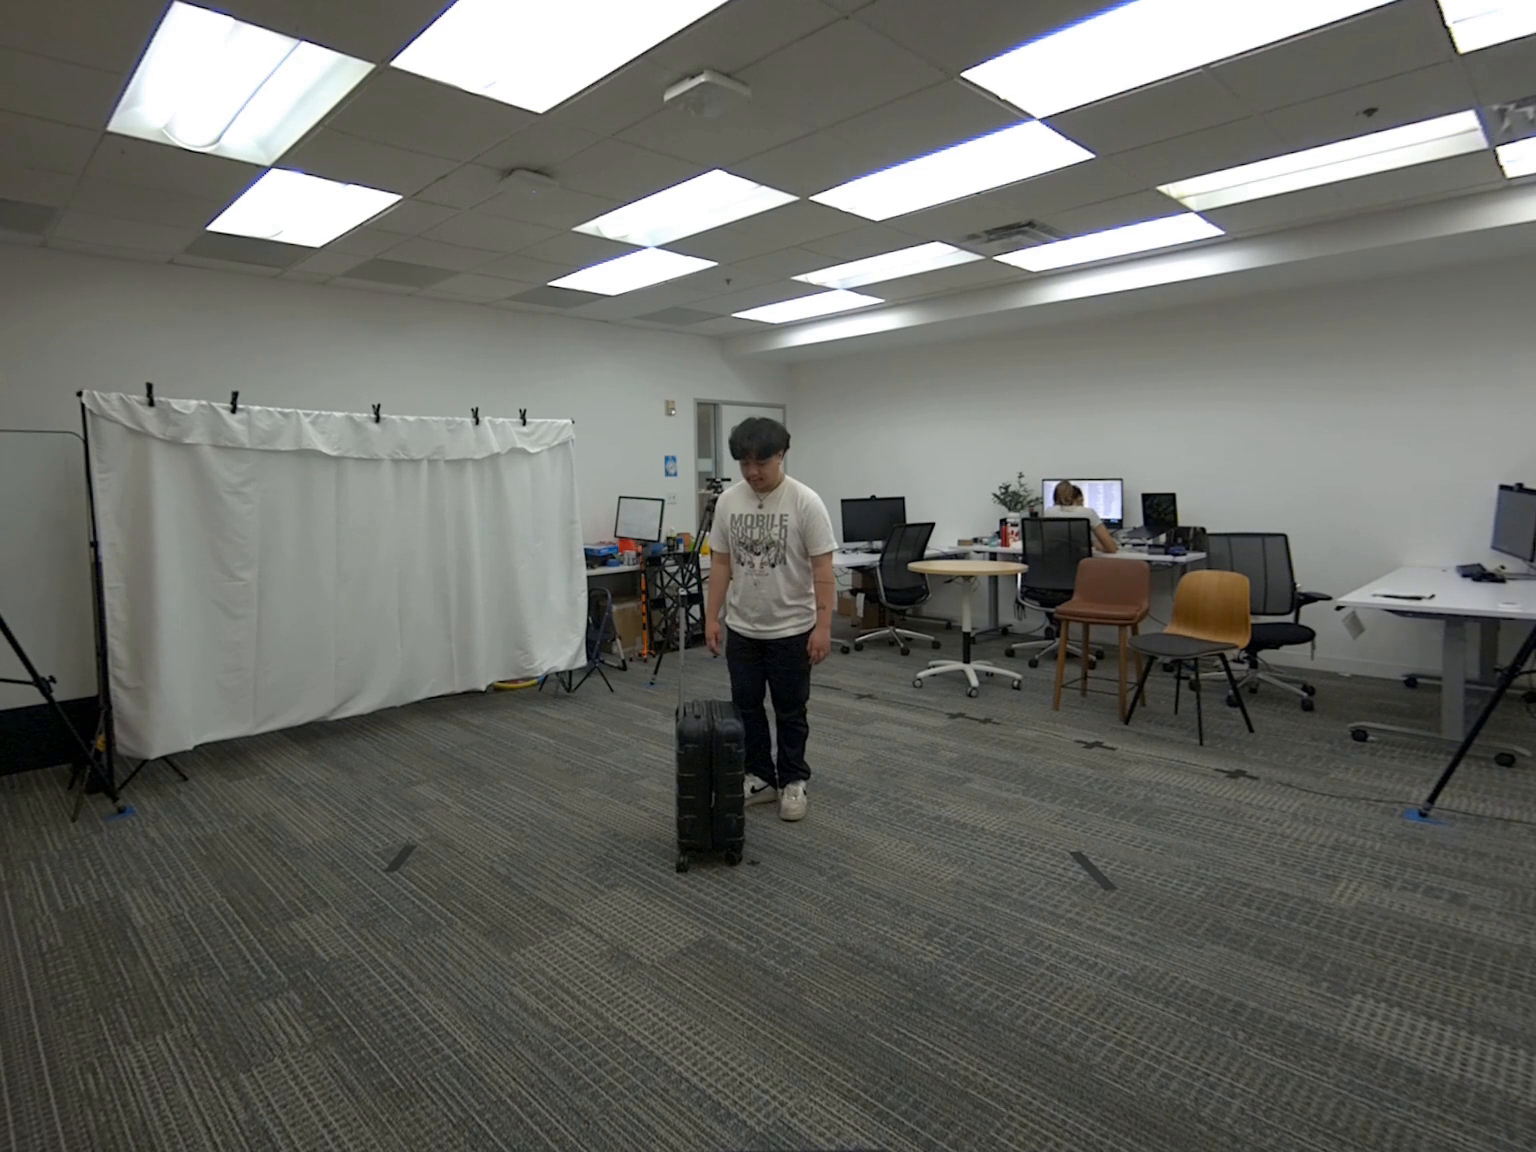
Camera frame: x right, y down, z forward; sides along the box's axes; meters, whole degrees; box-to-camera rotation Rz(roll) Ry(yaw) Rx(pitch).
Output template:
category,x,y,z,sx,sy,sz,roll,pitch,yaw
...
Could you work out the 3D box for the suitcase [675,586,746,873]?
category,x,y,z,sx,sy,sz,roll,pitch,yaw
suitcase,-0.223,0.557,3.202,0.256,0.975,0.387,1,4,-6
